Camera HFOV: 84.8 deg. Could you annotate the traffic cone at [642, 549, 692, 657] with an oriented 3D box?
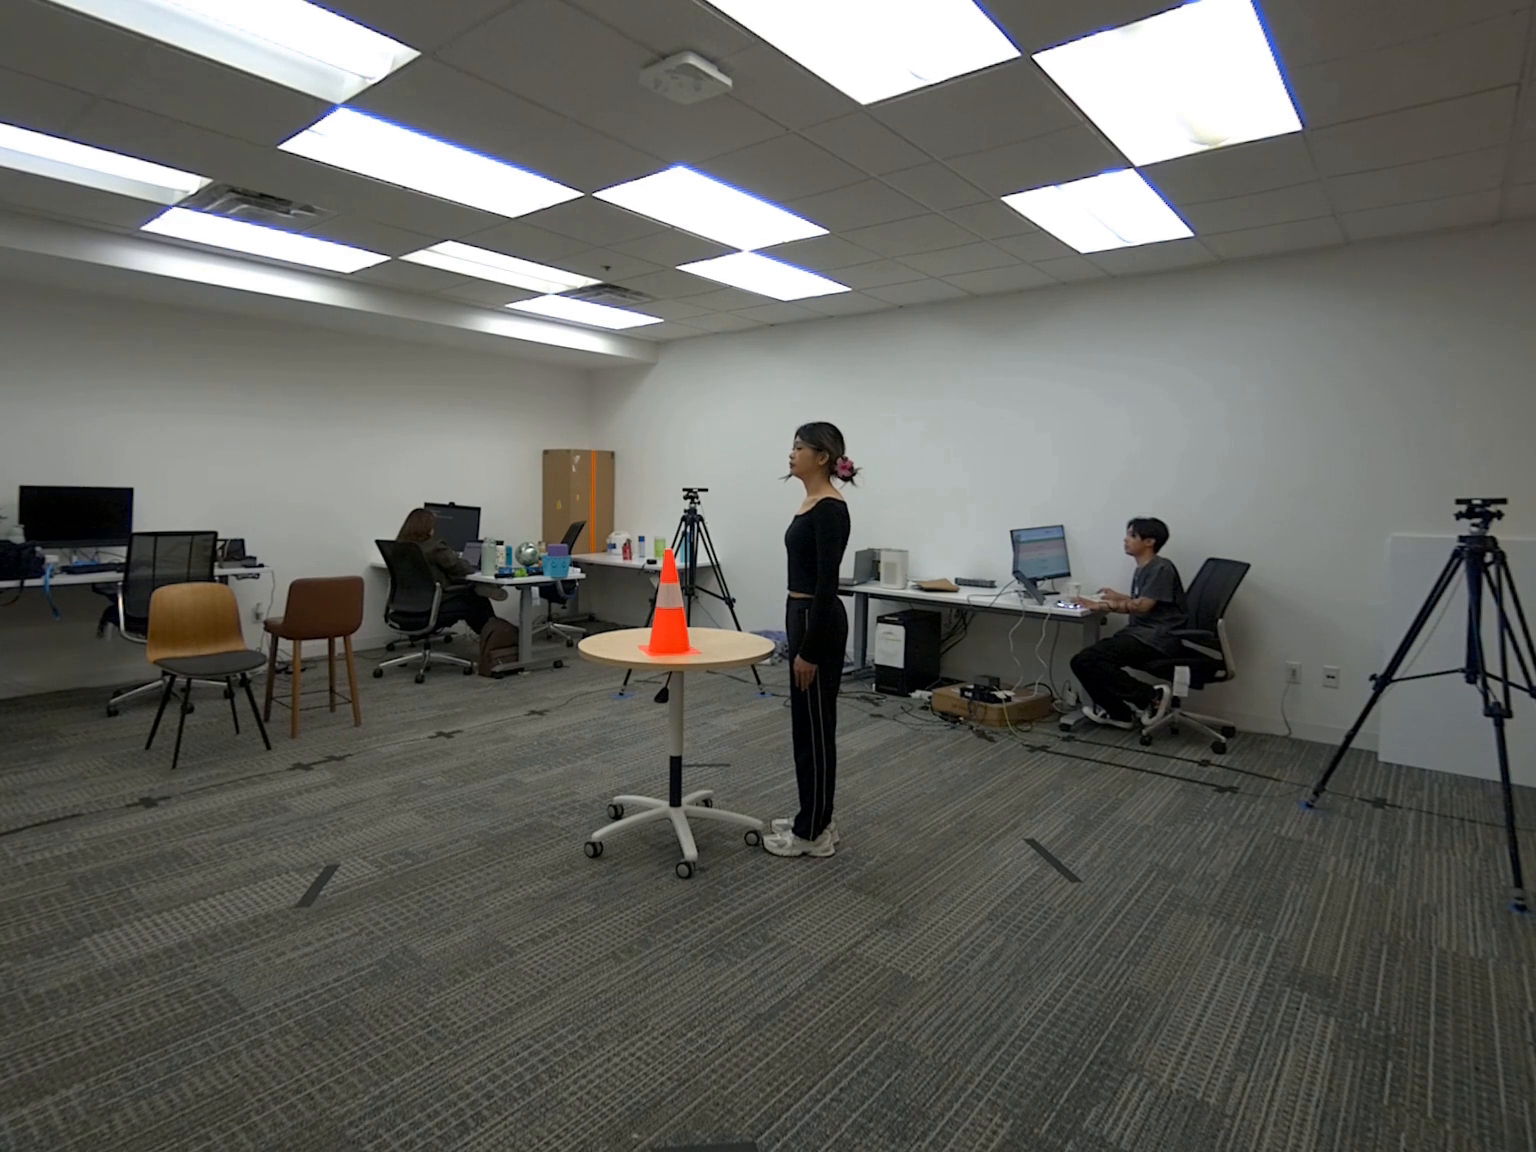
[{"bbox_3d":[-0.379,0.089,3.191,0.200,0.382,0.209,-2,3,-18],"label":"traffic cone"}]
